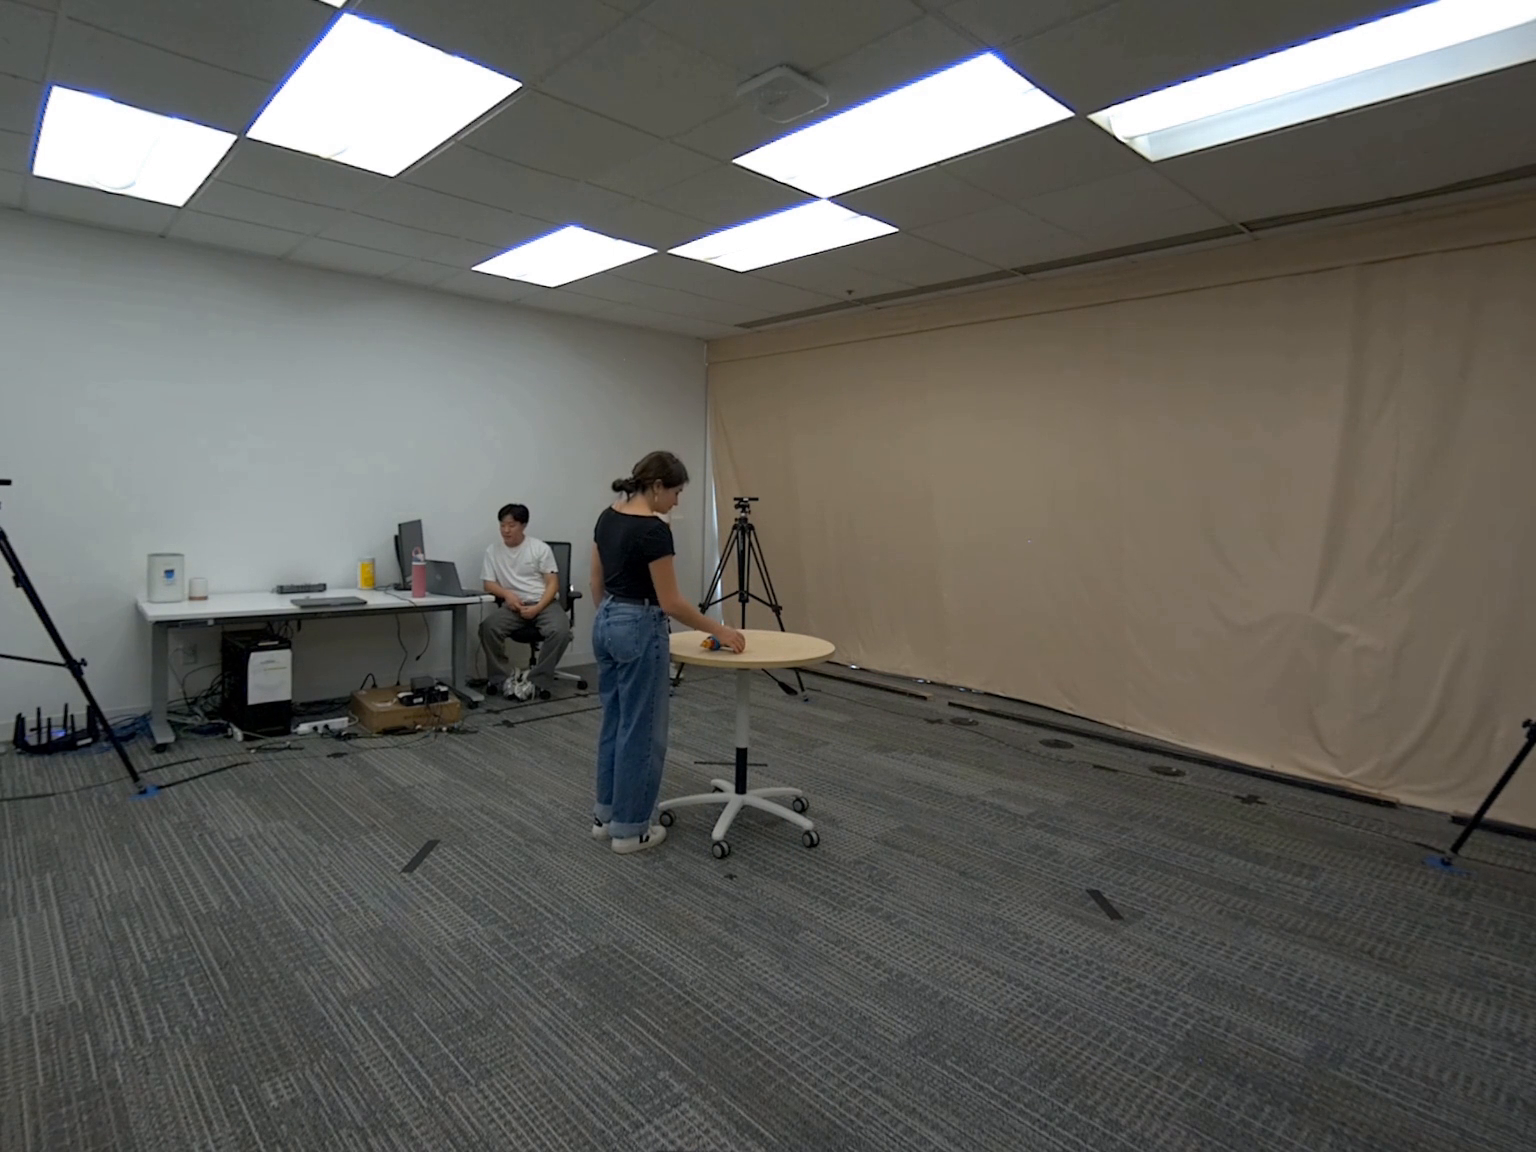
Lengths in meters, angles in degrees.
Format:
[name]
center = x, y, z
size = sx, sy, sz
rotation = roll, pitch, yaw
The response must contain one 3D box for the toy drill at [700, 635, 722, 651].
[toy drill]
center = -0.205, 0.275, 3.368
size = 0.149, 0.061, 0.166
rotation = 7, 5, 30
